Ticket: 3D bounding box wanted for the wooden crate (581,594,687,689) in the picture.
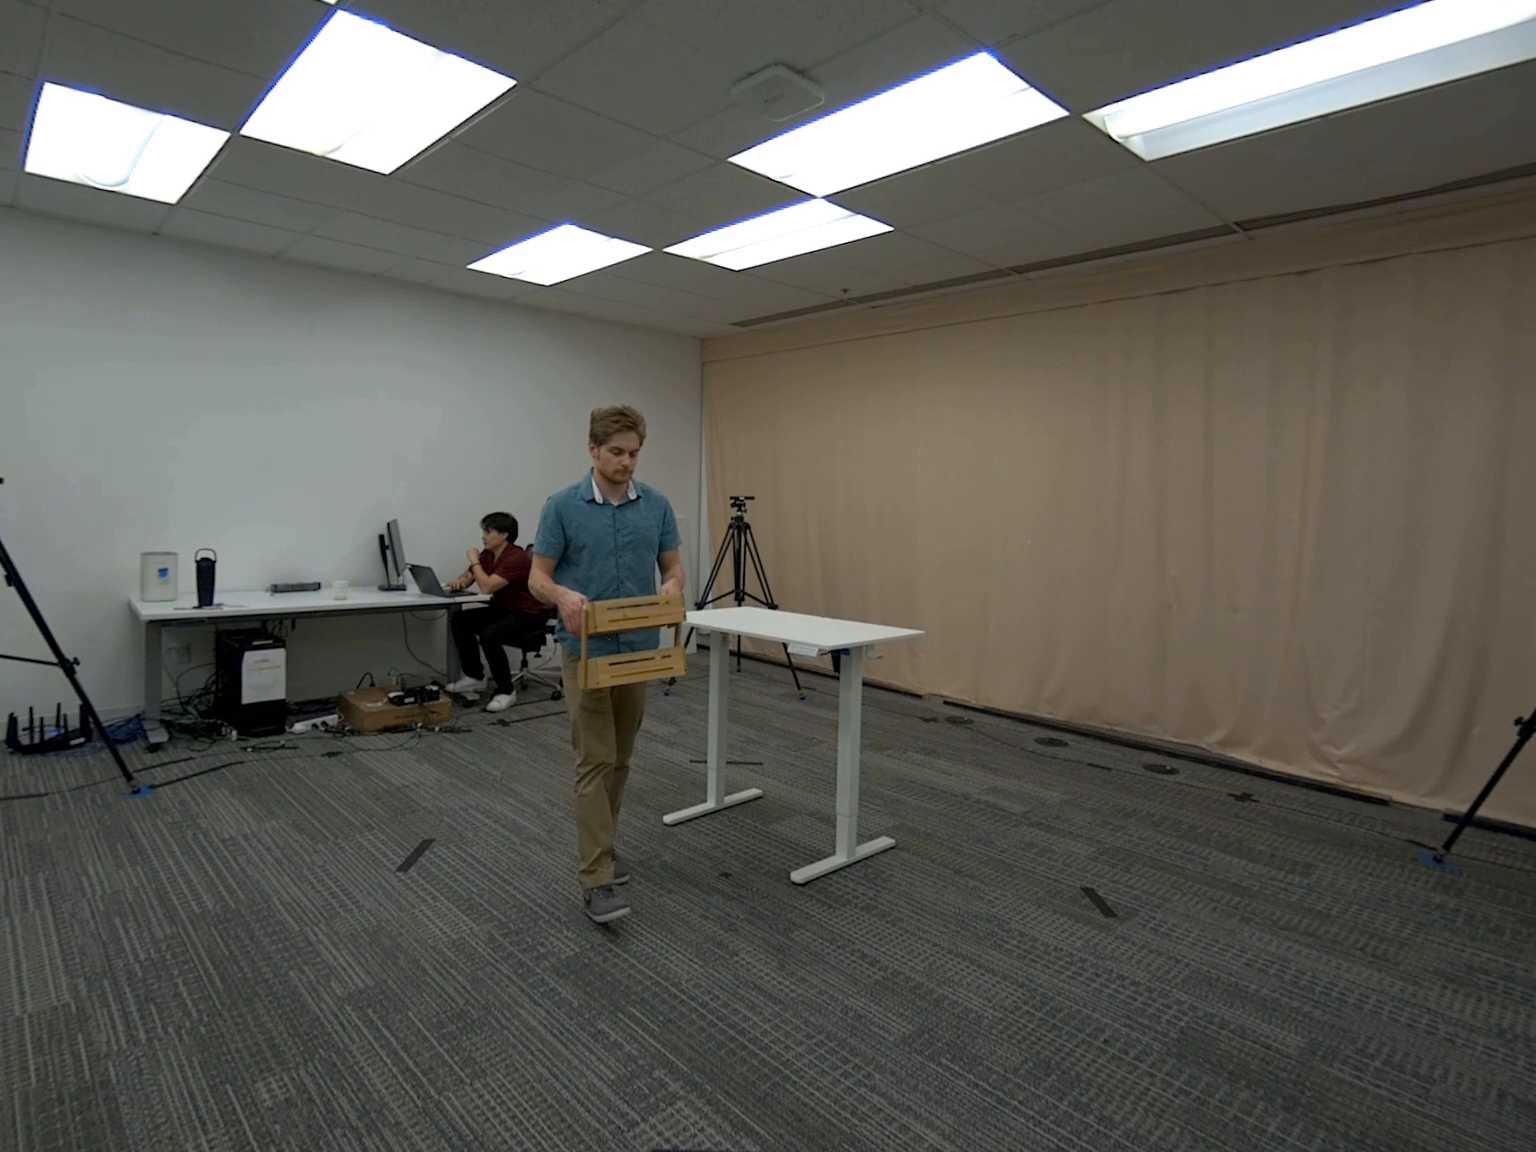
[{"bbox_3d":[-0.450,0.210,2.720,0.319,0.275,0.305,-5,-6,-25],"label":"wooden crate"}]
